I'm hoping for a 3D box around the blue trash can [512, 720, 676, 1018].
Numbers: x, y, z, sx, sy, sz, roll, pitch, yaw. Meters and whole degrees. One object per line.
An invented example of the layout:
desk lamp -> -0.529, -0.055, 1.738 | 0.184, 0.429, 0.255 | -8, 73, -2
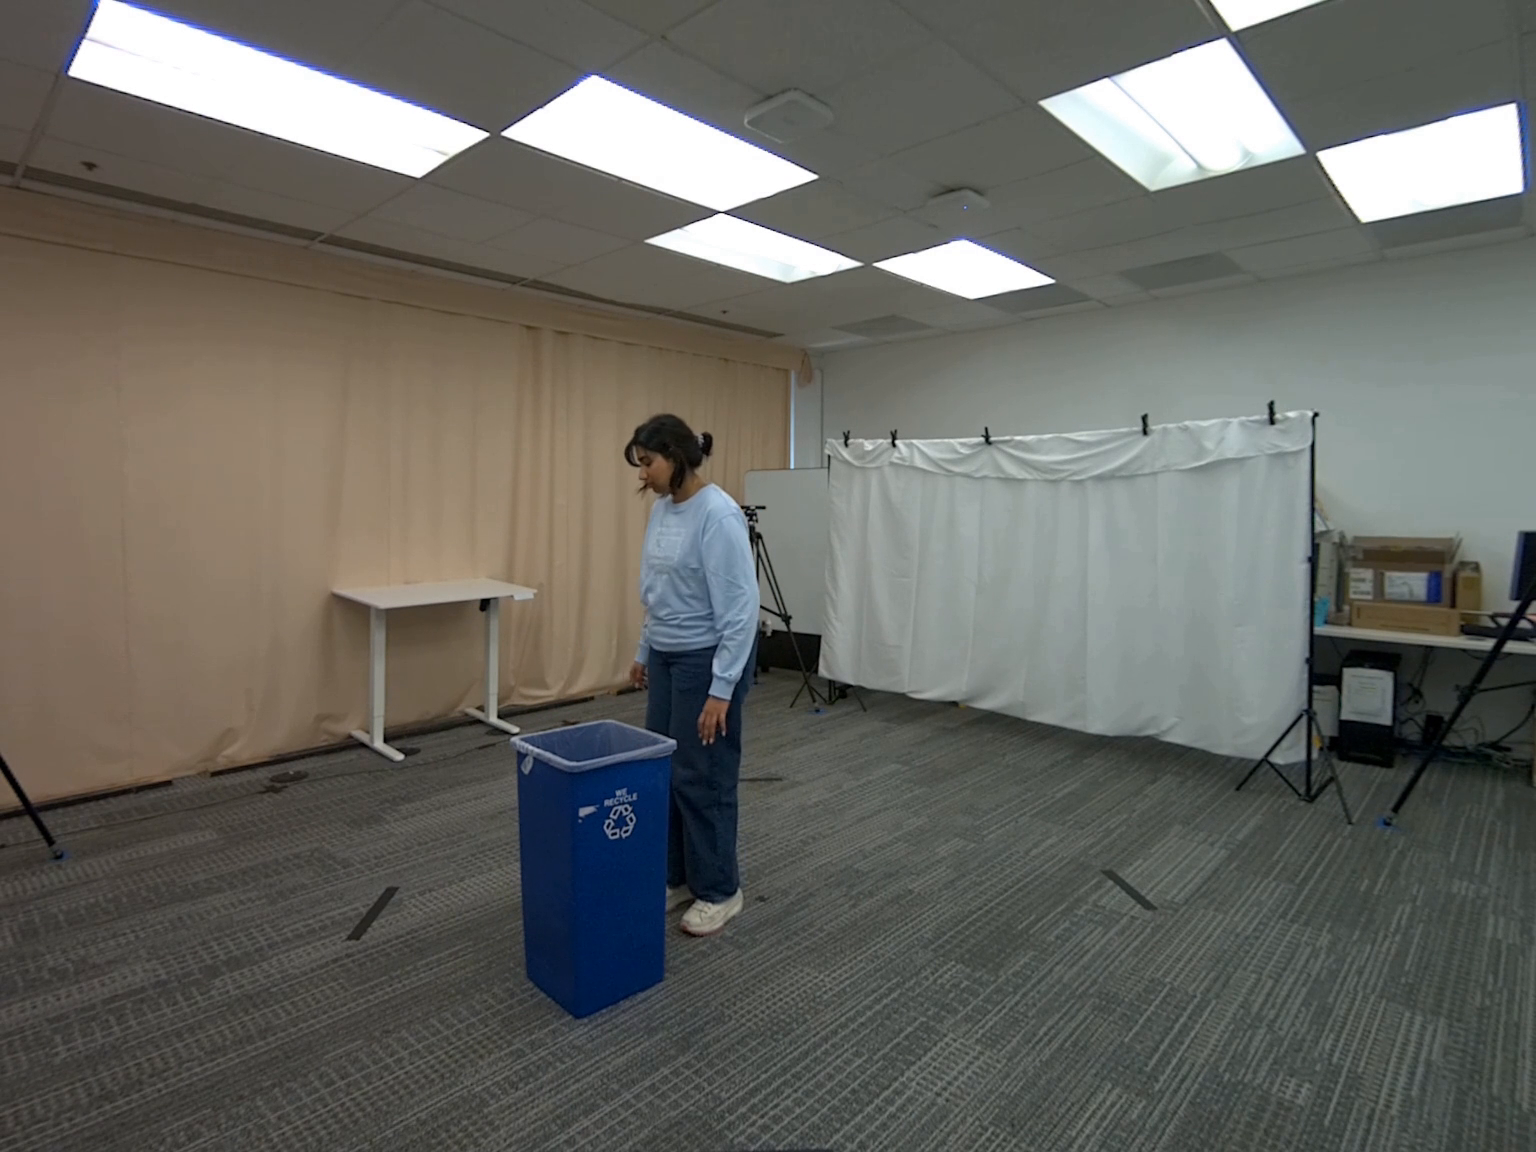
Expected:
blue trash can -> -0.510, 0.833, 2.477 | 0.362, 0.712, 0.391 | -3, 4, -43
